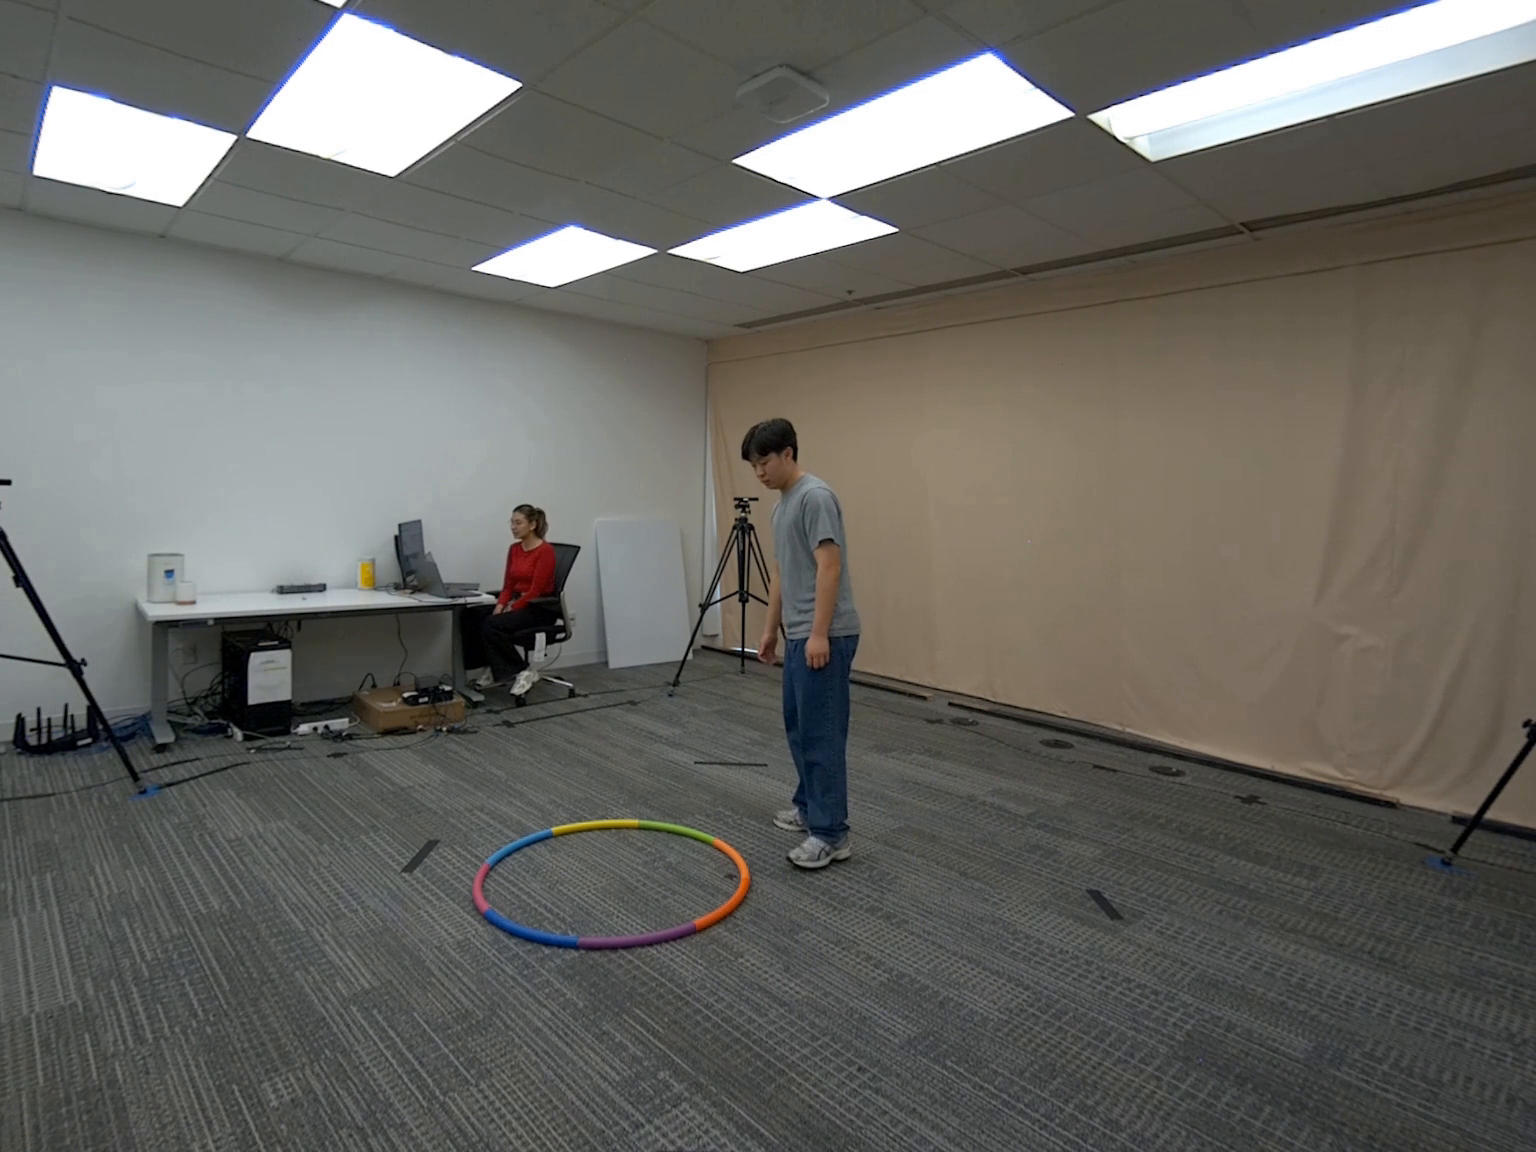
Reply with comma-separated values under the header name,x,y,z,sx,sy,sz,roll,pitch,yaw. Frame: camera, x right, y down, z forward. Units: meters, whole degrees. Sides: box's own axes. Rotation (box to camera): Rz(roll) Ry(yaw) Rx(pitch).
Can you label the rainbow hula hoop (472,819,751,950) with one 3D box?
name,x,y,z,sx,sy,sz,roll,pitch,yaw
rainbow hula hoop,-0.570,1.069,3.059,0.978,0.035,0.982,2,5,-1
